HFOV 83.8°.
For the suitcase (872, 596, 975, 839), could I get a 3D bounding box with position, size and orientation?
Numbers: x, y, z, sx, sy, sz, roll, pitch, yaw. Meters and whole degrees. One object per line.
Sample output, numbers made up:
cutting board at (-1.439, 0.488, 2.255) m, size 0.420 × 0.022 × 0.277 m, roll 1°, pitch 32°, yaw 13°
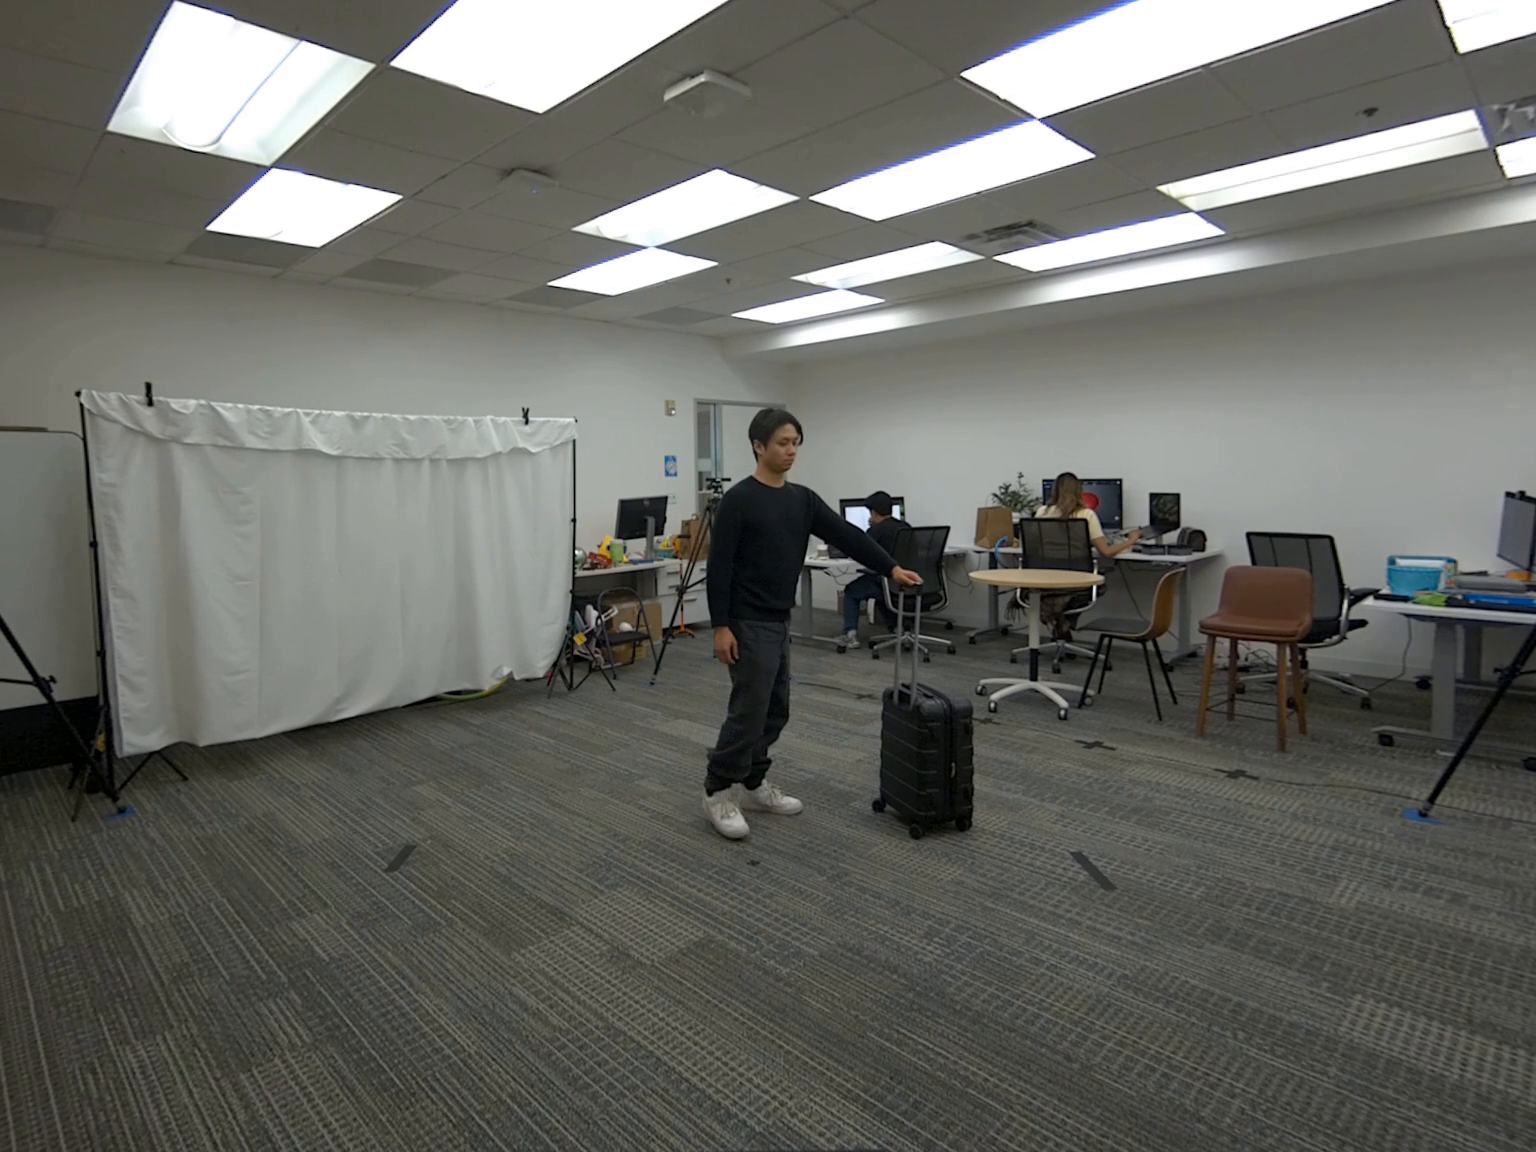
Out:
suitcase at (0.633, 0.512, 3.435) m, size 0.253 × 0.976 × 0.391 m, roll 2°, pitch 3°, yaw -18°
